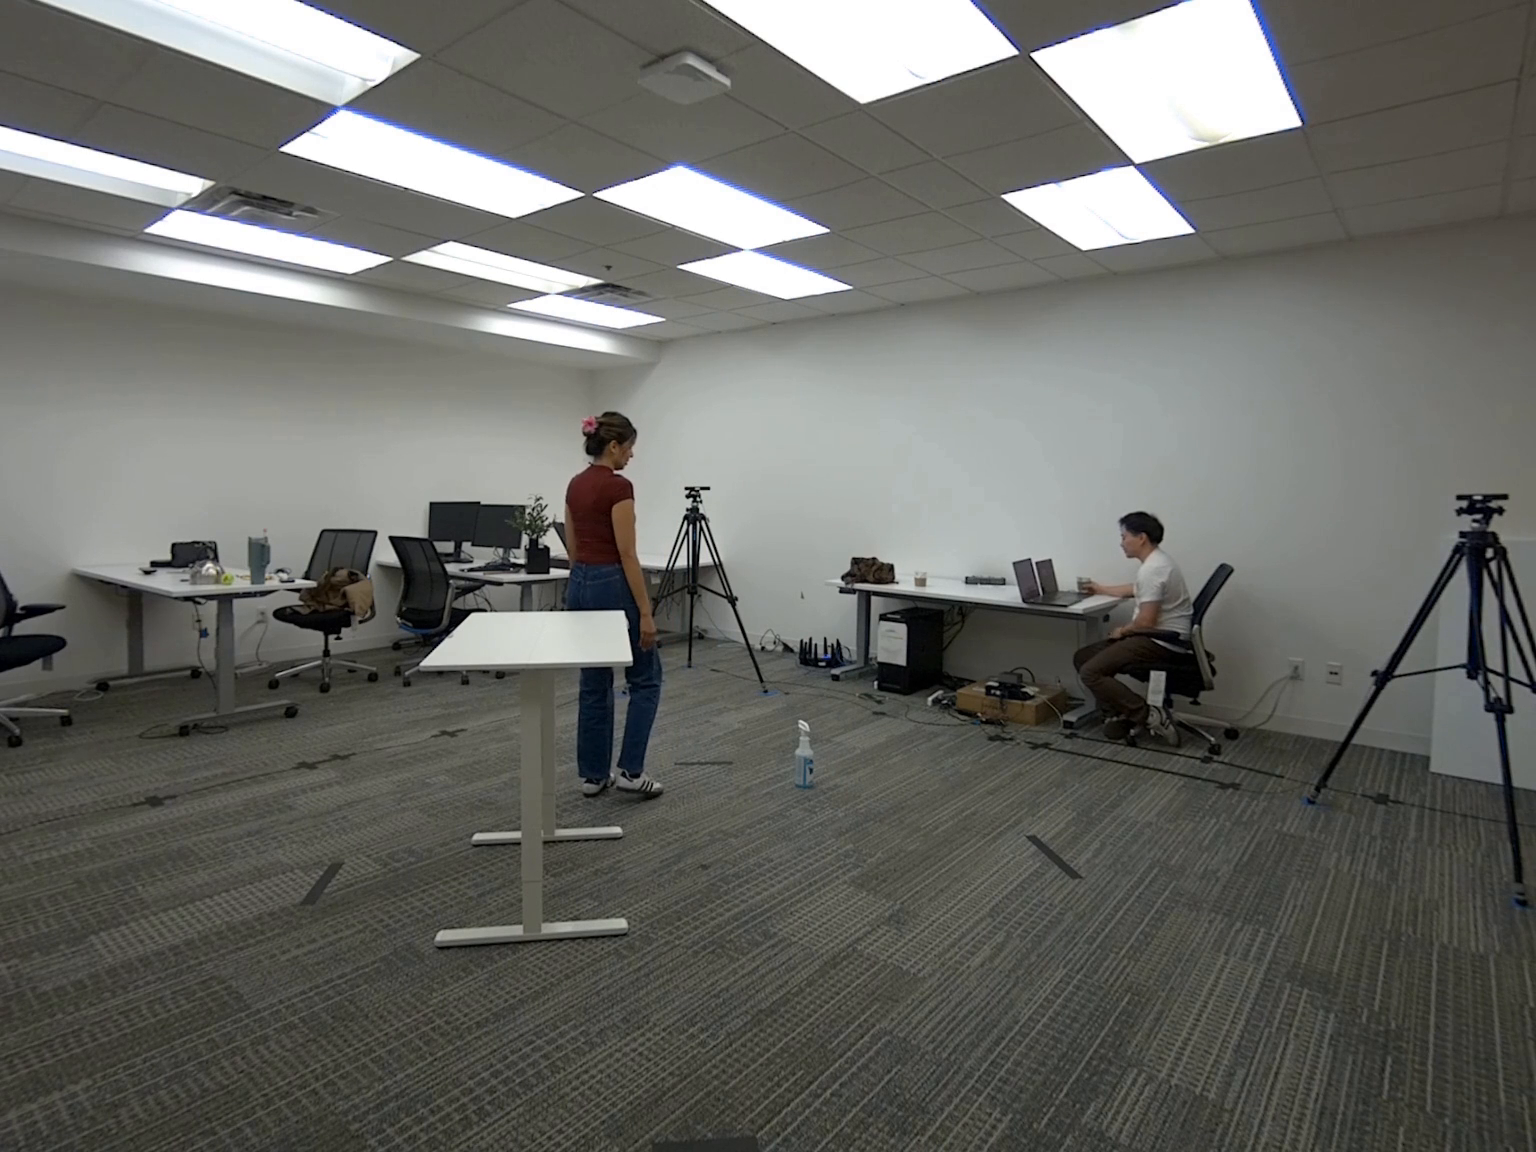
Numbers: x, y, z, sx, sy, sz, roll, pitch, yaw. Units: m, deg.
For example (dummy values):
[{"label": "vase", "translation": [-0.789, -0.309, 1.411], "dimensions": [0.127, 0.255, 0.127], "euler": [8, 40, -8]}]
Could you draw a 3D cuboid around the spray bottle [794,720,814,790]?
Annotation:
[{"label": "spray bottle", "translation": [0.158, 0.843, 4.007], "dimensions": [0.087, 0.296, 0.090], "euler": [1, 4, -2]}]
